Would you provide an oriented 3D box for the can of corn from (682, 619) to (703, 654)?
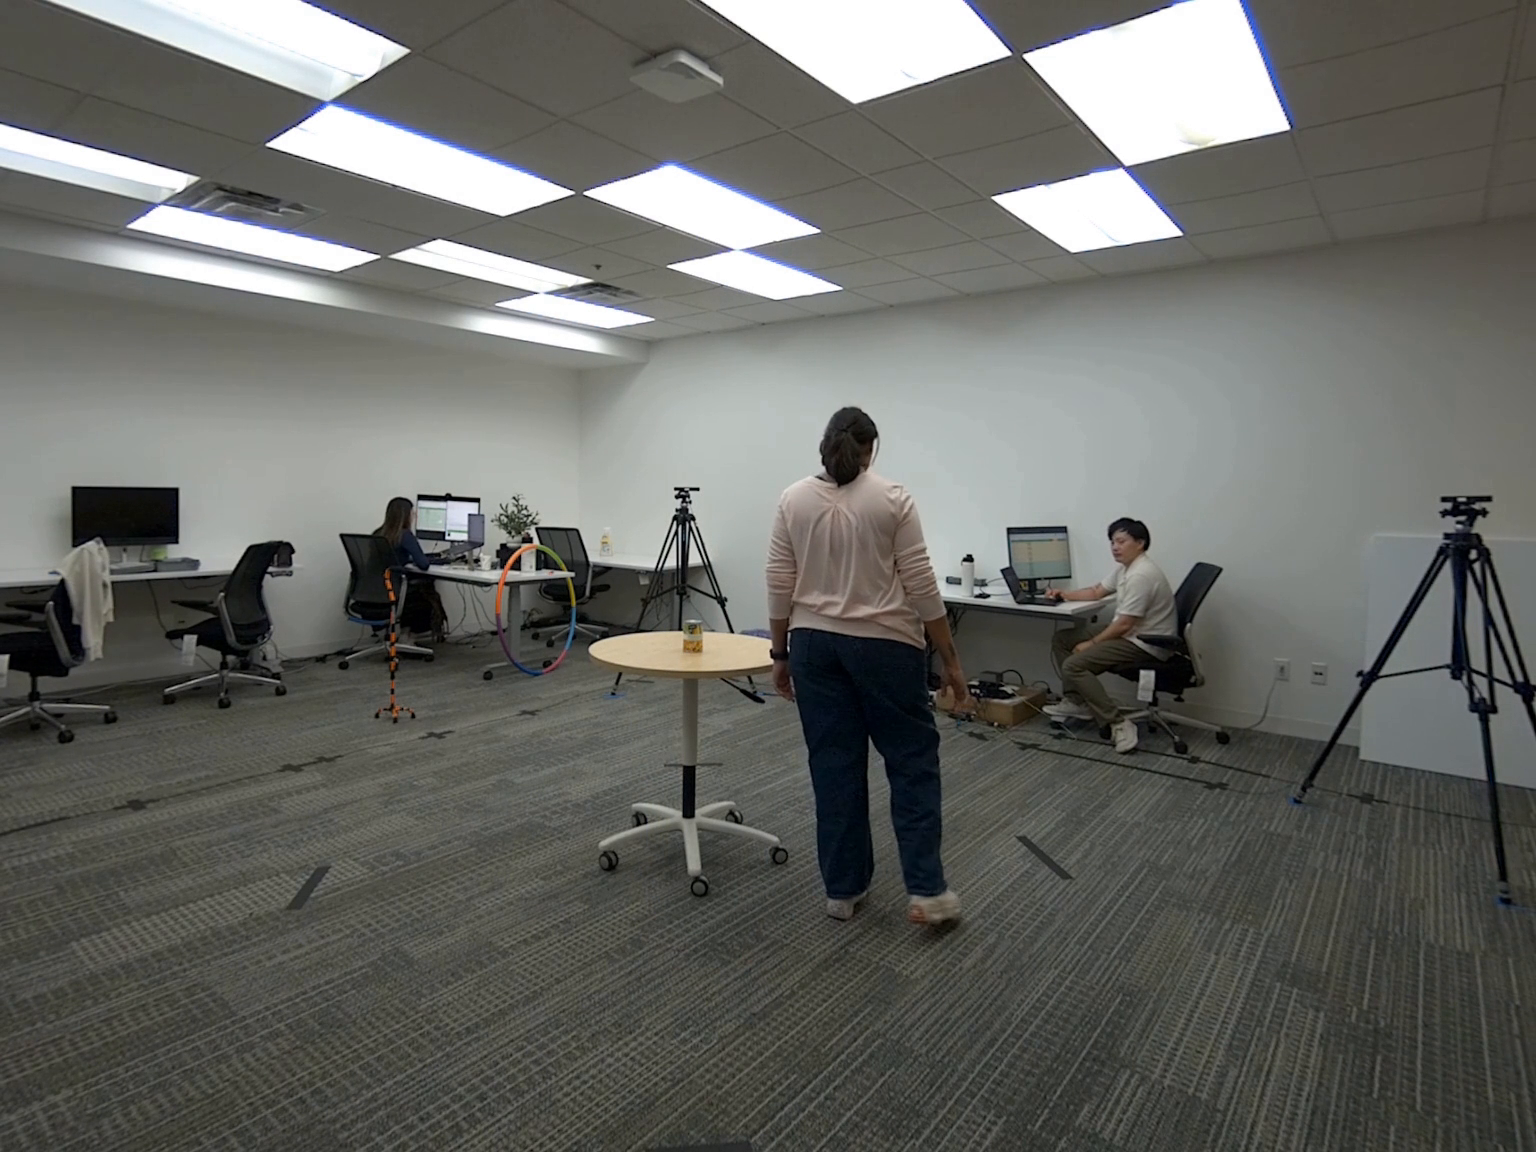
[{"bbox_3d":[-0.291,0.219,3.159,0.074,0.111,0.074,2,4,-2],"label":"can of corn"}]
